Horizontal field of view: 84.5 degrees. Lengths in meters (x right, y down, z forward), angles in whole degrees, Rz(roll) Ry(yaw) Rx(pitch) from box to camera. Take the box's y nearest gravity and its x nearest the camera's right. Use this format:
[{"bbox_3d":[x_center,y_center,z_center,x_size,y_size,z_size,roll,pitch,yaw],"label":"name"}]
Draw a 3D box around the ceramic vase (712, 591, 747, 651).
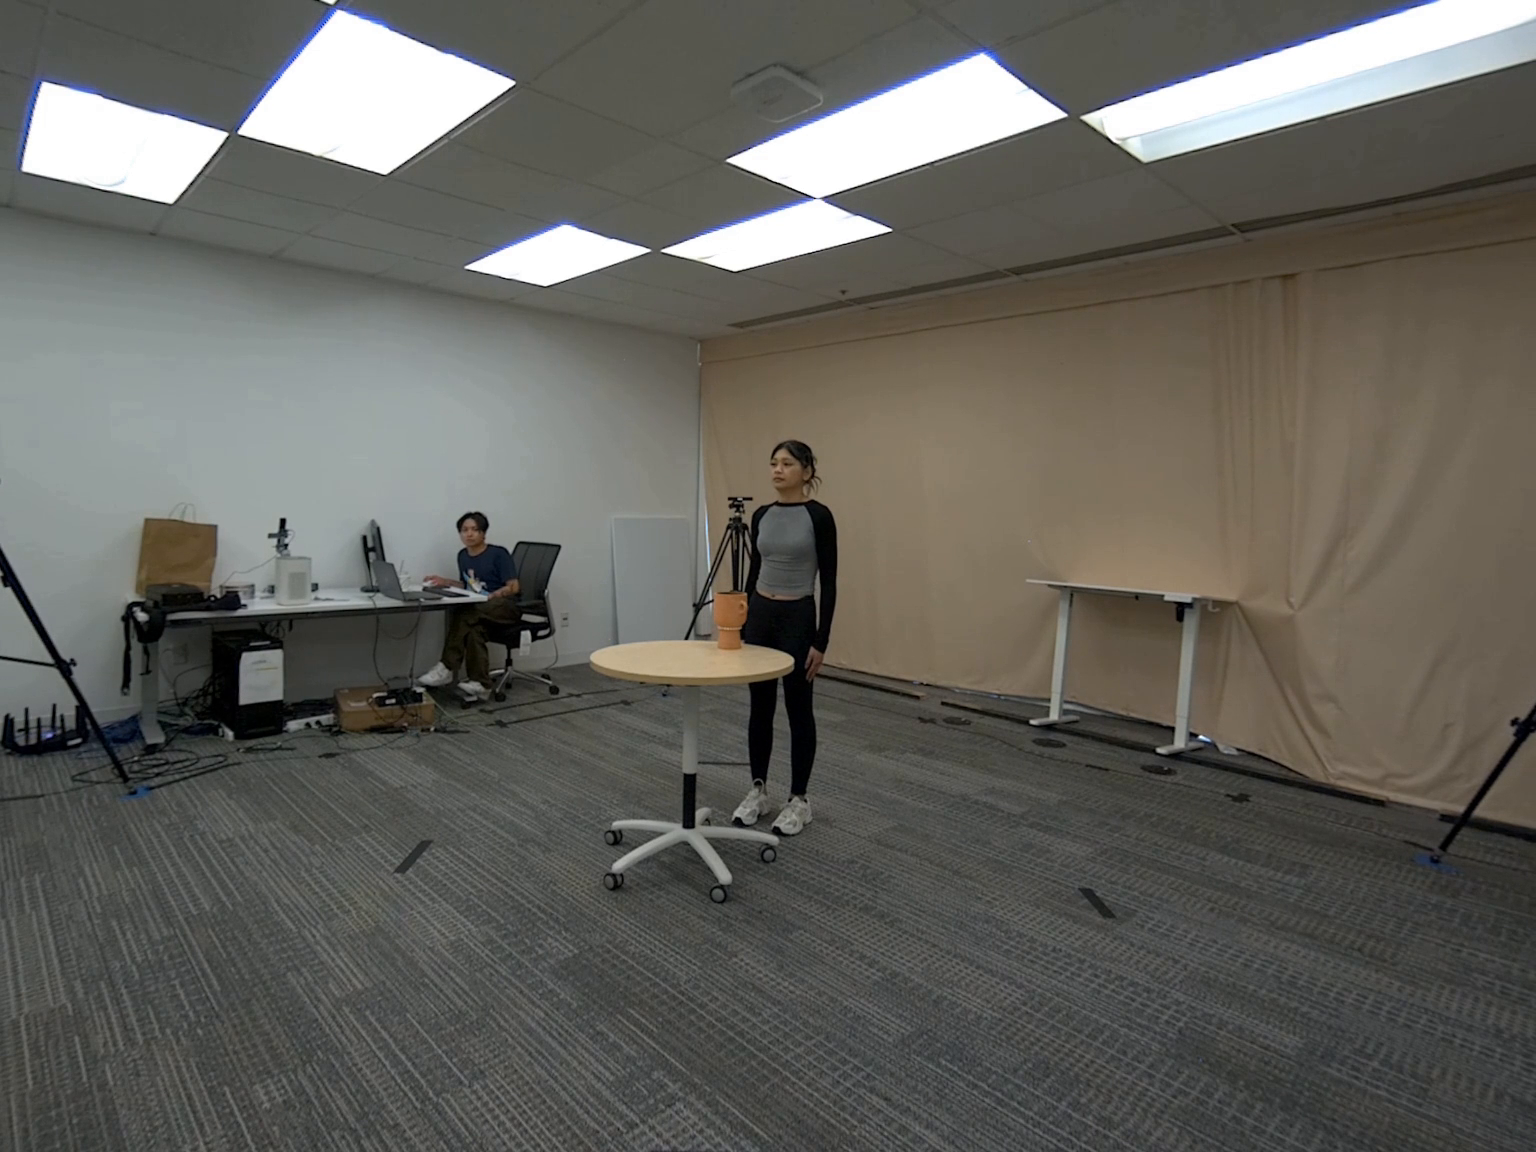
[{"bbox_3d":[-0.161,0.182,3.397,0.134,0.219,0.159,1,3,-2],"label":"ceramic vase"}]
